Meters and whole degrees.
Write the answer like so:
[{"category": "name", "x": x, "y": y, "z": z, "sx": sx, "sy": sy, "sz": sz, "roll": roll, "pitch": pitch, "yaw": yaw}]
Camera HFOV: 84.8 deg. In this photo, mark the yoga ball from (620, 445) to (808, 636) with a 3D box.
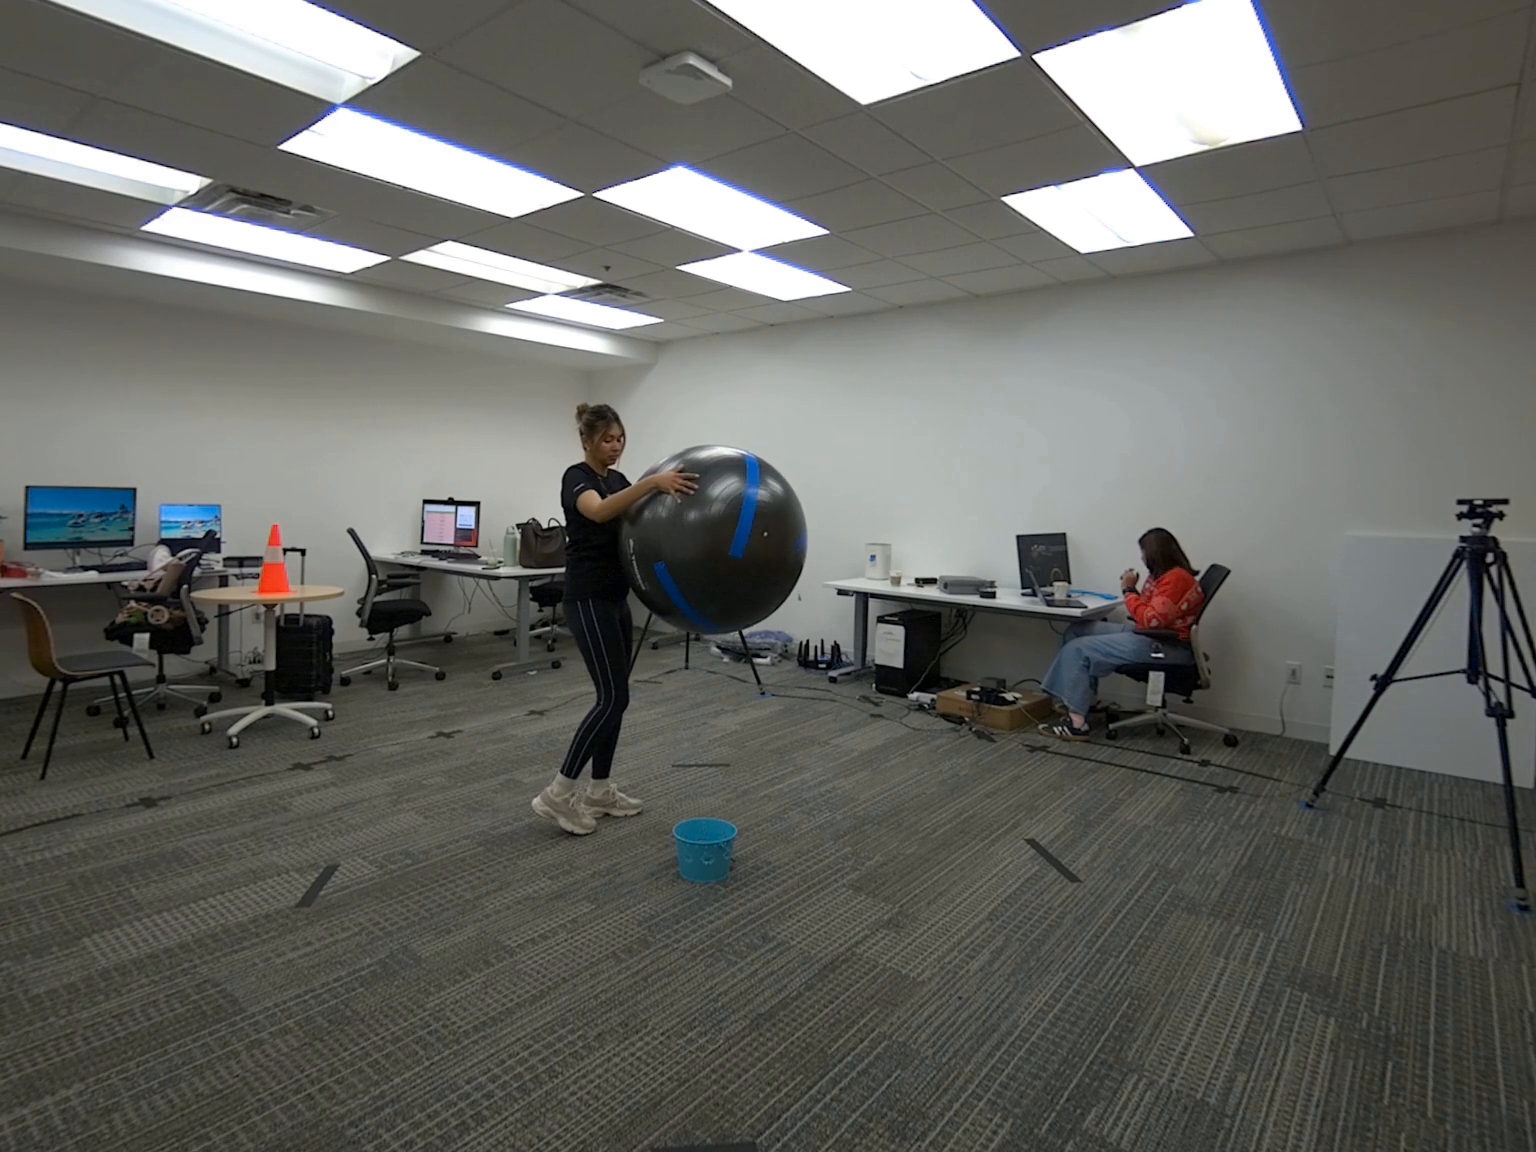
[{"category": "yoga ball", "x": -0.232, "y": -0.140, "z": 3.408, "sx": 0.757, "sy": 0.756, "sz": 0.761, "roll": 1, "pitch": 4, "yaw": -2}]
